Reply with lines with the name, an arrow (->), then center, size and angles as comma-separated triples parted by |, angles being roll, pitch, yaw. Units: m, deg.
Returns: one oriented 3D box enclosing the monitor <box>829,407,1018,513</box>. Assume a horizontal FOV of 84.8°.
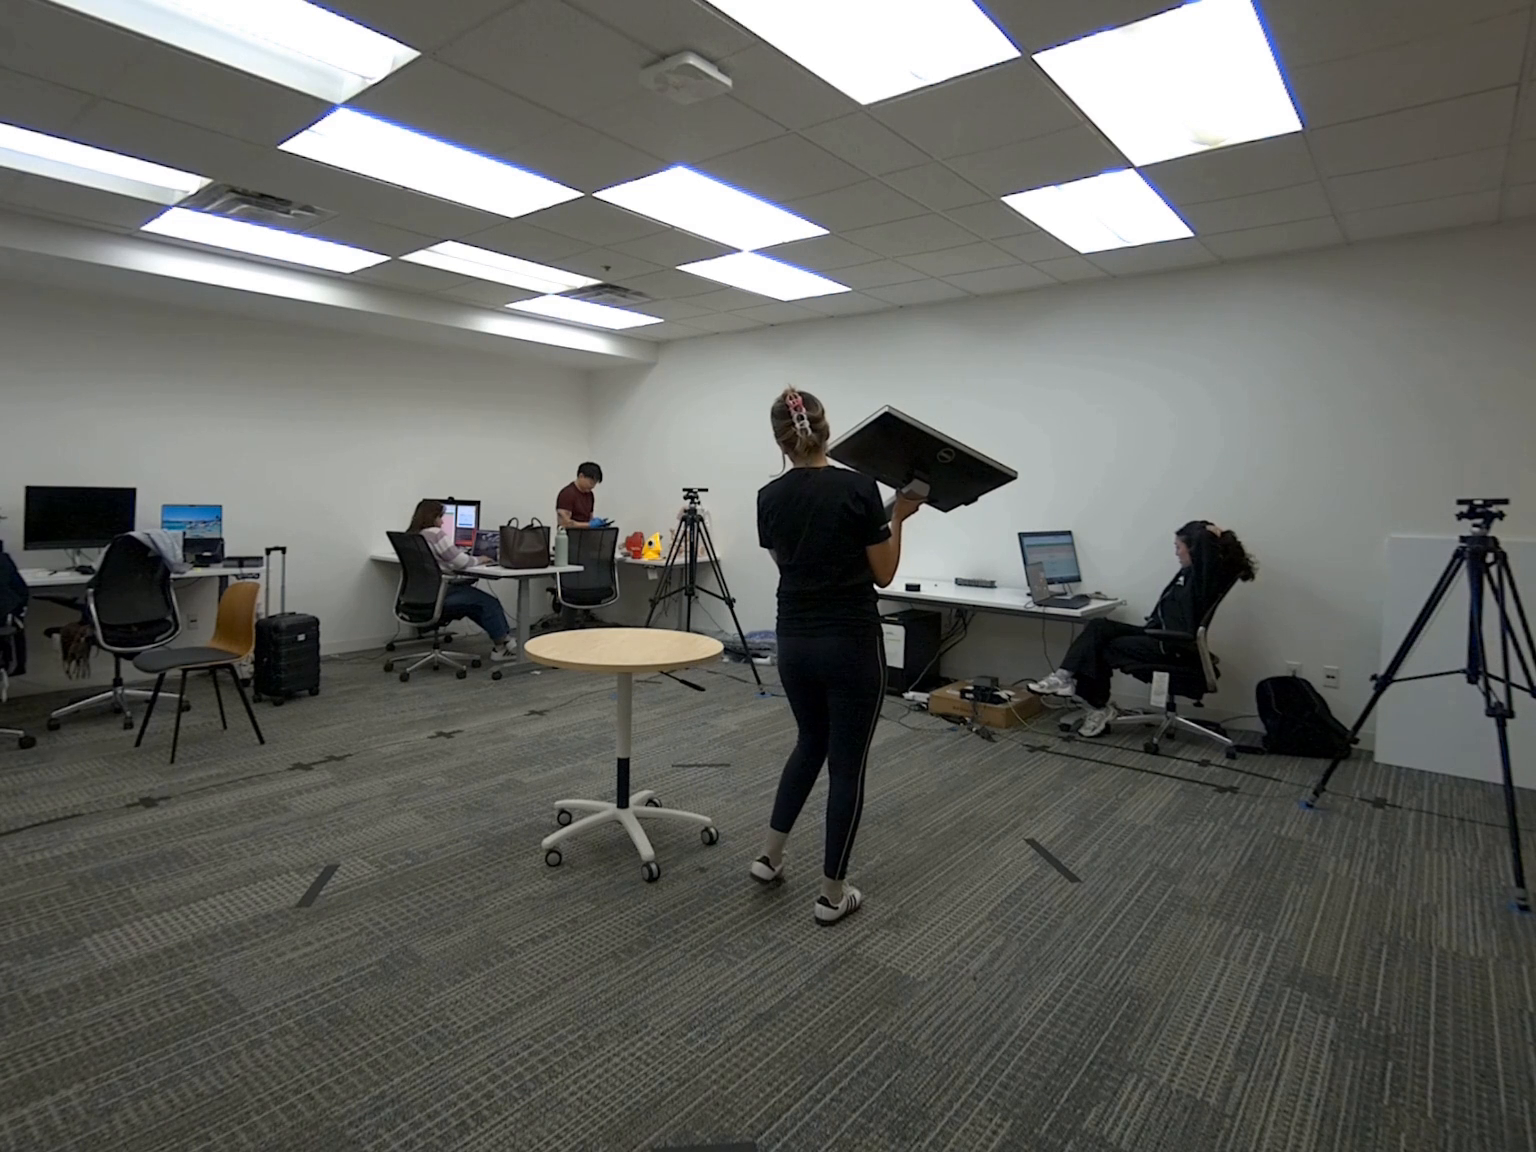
monitor -> 0.465, -0.320, 2.984 | 0.525, 0.192, 0.523 | 21, -41, -22
